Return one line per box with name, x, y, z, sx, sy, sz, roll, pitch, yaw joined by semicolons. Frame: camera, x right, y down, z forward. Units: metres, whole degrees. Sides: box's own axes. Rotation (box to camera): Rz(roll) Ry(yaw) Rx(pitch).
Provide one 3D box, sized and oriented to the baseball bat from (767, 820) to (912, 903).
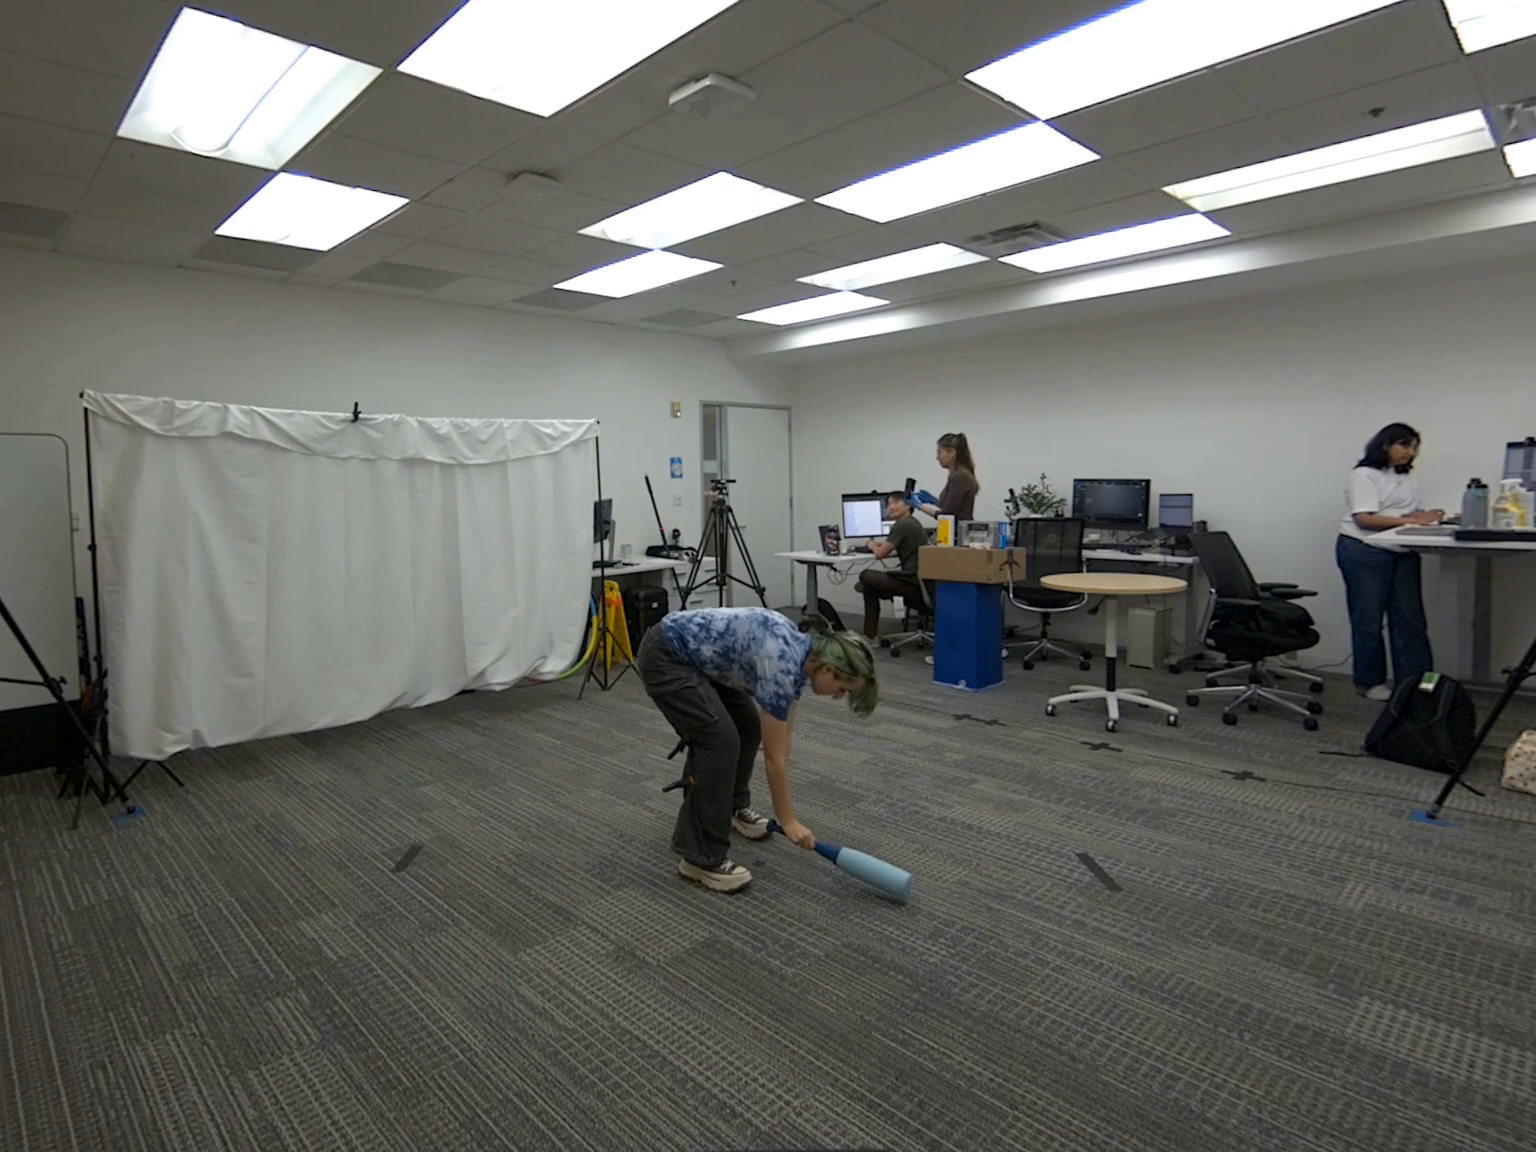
baseball bat;0.234;0.957;2.938;0.560;0.088;0.087;14;12;32
